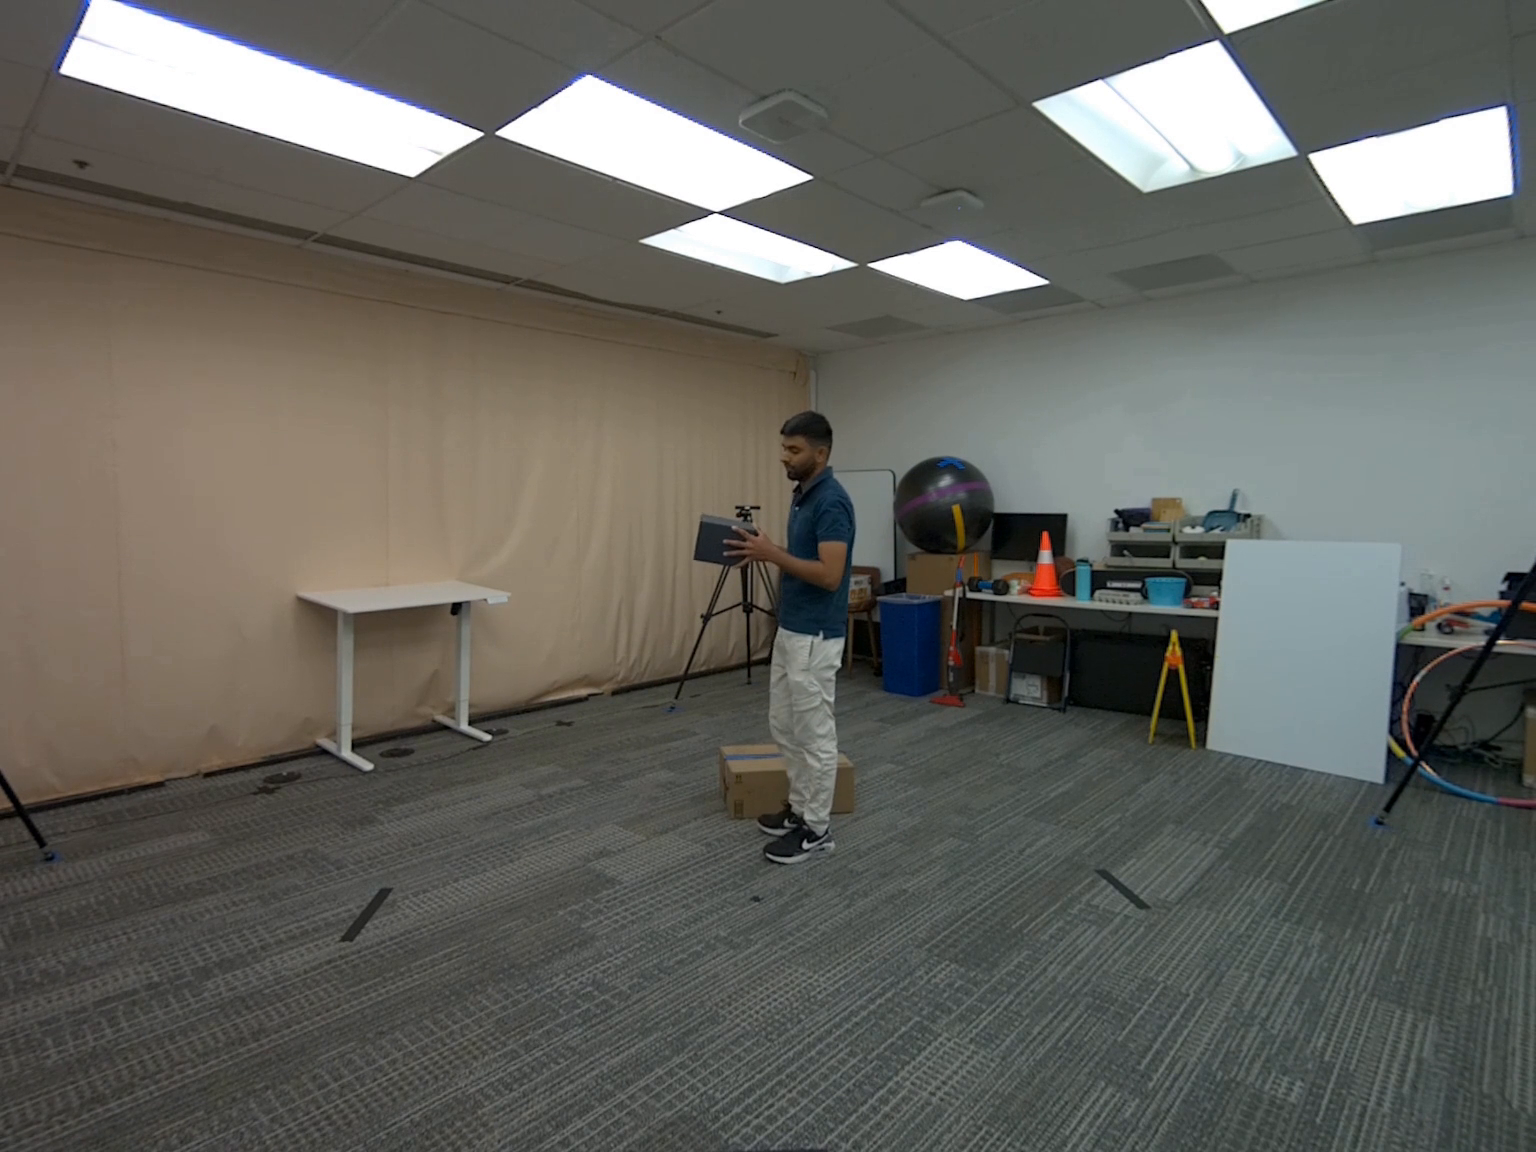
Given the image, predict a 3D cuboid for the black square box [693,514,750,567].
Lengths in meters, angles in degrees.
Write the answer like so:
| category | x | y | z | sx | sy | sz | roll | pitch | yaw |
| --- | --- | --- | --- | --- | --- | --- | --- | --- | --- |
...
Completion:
| category | x | y | z | sx | sy | sz | roll | pitch | yaw |
| --- | --- | --- | --- | --- | --- | --- | --- | --- | --- |
| black square box | -0.175 | -0.140 | 3.313 | 0.218 | 0.155 | 0.228 | 11 | 7 | 1 |
